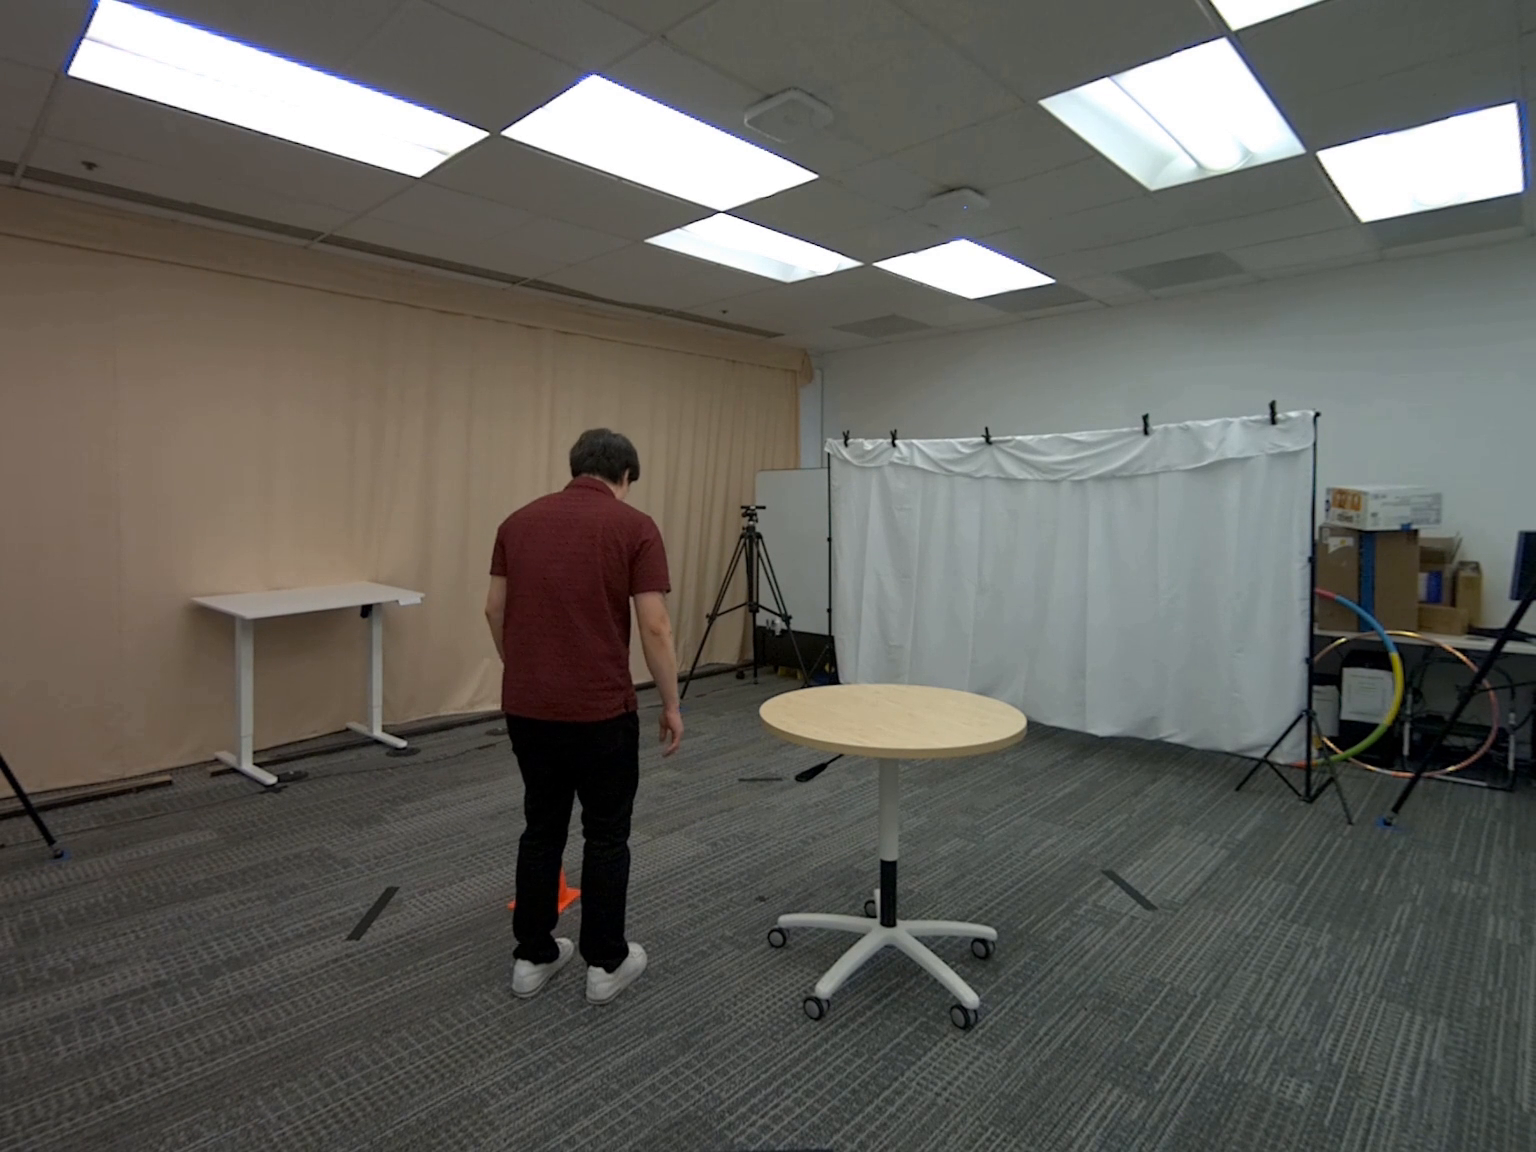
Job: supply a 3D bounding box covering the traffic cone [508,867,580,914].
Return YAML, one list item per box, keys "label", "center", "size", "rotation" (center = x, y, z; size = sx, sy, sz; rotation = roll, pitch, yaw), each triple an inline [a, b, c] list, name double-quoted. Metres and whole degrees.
- label: "traffic cone"
  center: [-0.798, 0.965, 2.980]
  size: [0.207, 0.383, 0.201]
  rotation: [-1, 2, 19]
